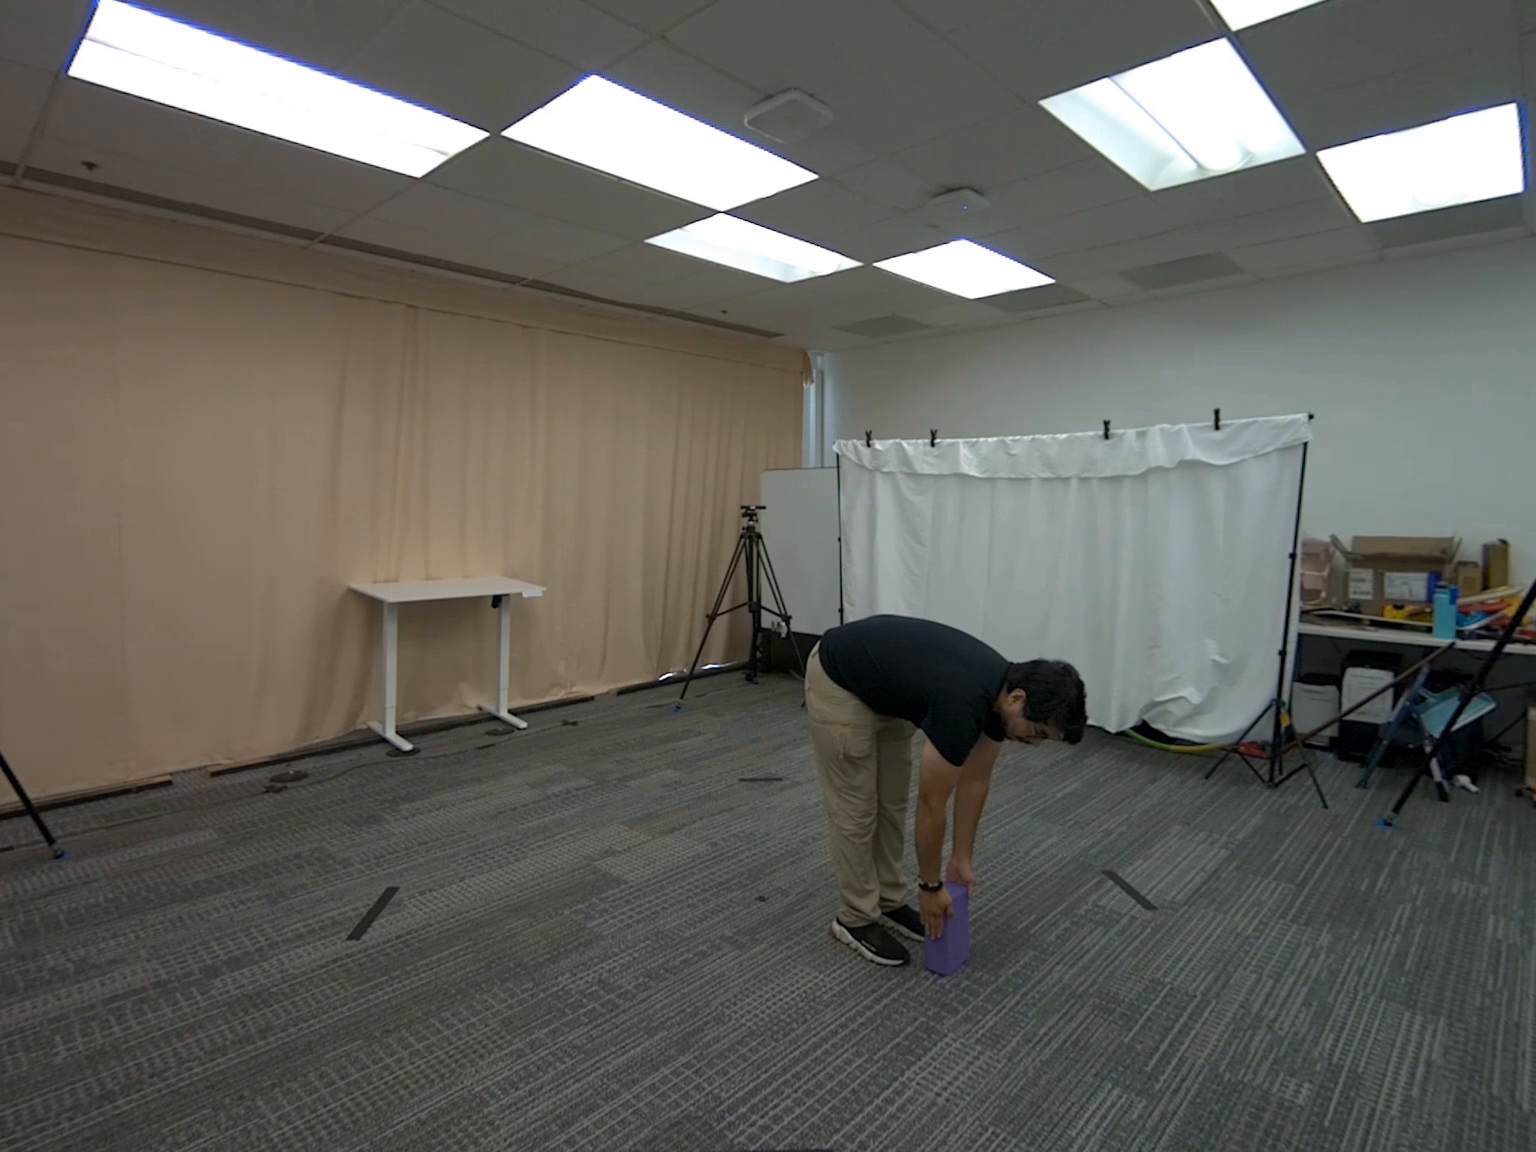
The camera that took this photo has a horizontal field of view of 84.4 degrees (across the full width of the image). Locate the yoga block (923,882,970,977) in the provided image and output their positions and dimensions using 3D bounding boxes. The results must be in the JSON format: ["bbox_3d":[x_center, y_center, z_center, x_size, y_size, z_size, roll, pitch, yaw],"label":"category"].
[{"bbox_3d":[0.552,1.066,2.545,0.144,0.229,0.079,-4,6,-45],"label":"yoga block"}]
